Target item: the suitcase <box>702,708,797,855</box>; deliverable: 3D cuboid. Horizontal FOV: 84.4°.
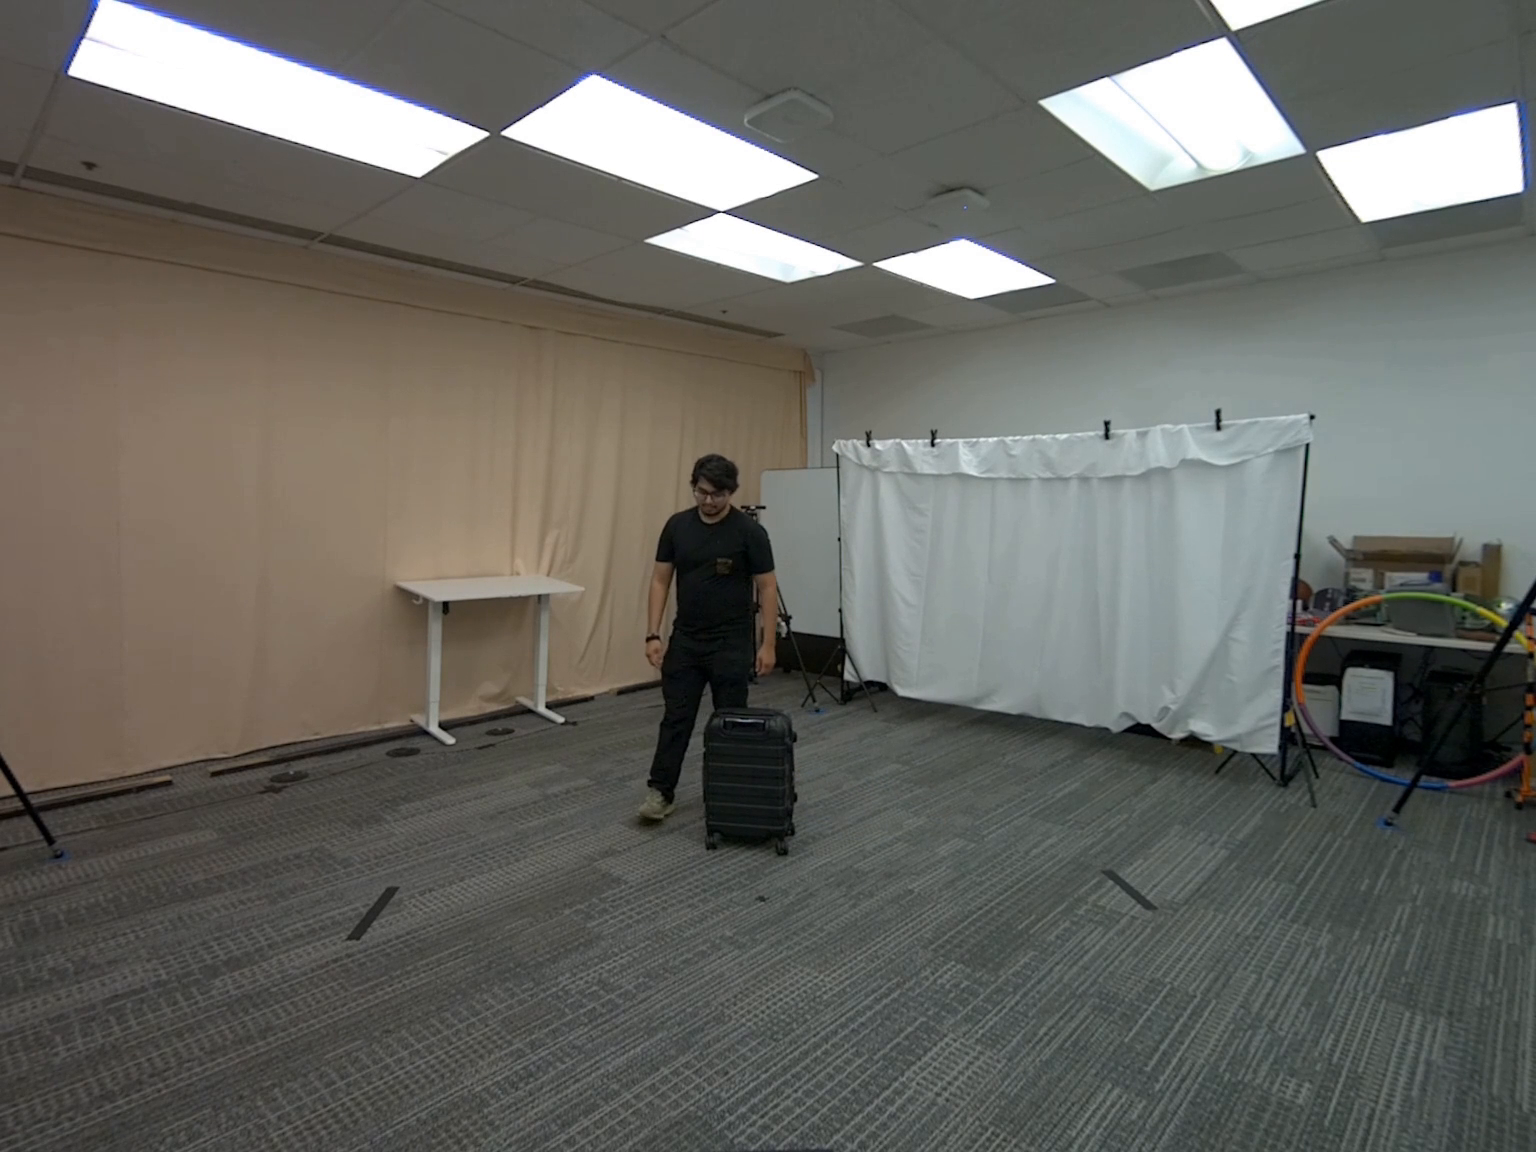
[{"bbox_3d":[-0.073,0.824,3.504,0.381,0.549,0.245,0,1,13],"label":"suitcase"}]
